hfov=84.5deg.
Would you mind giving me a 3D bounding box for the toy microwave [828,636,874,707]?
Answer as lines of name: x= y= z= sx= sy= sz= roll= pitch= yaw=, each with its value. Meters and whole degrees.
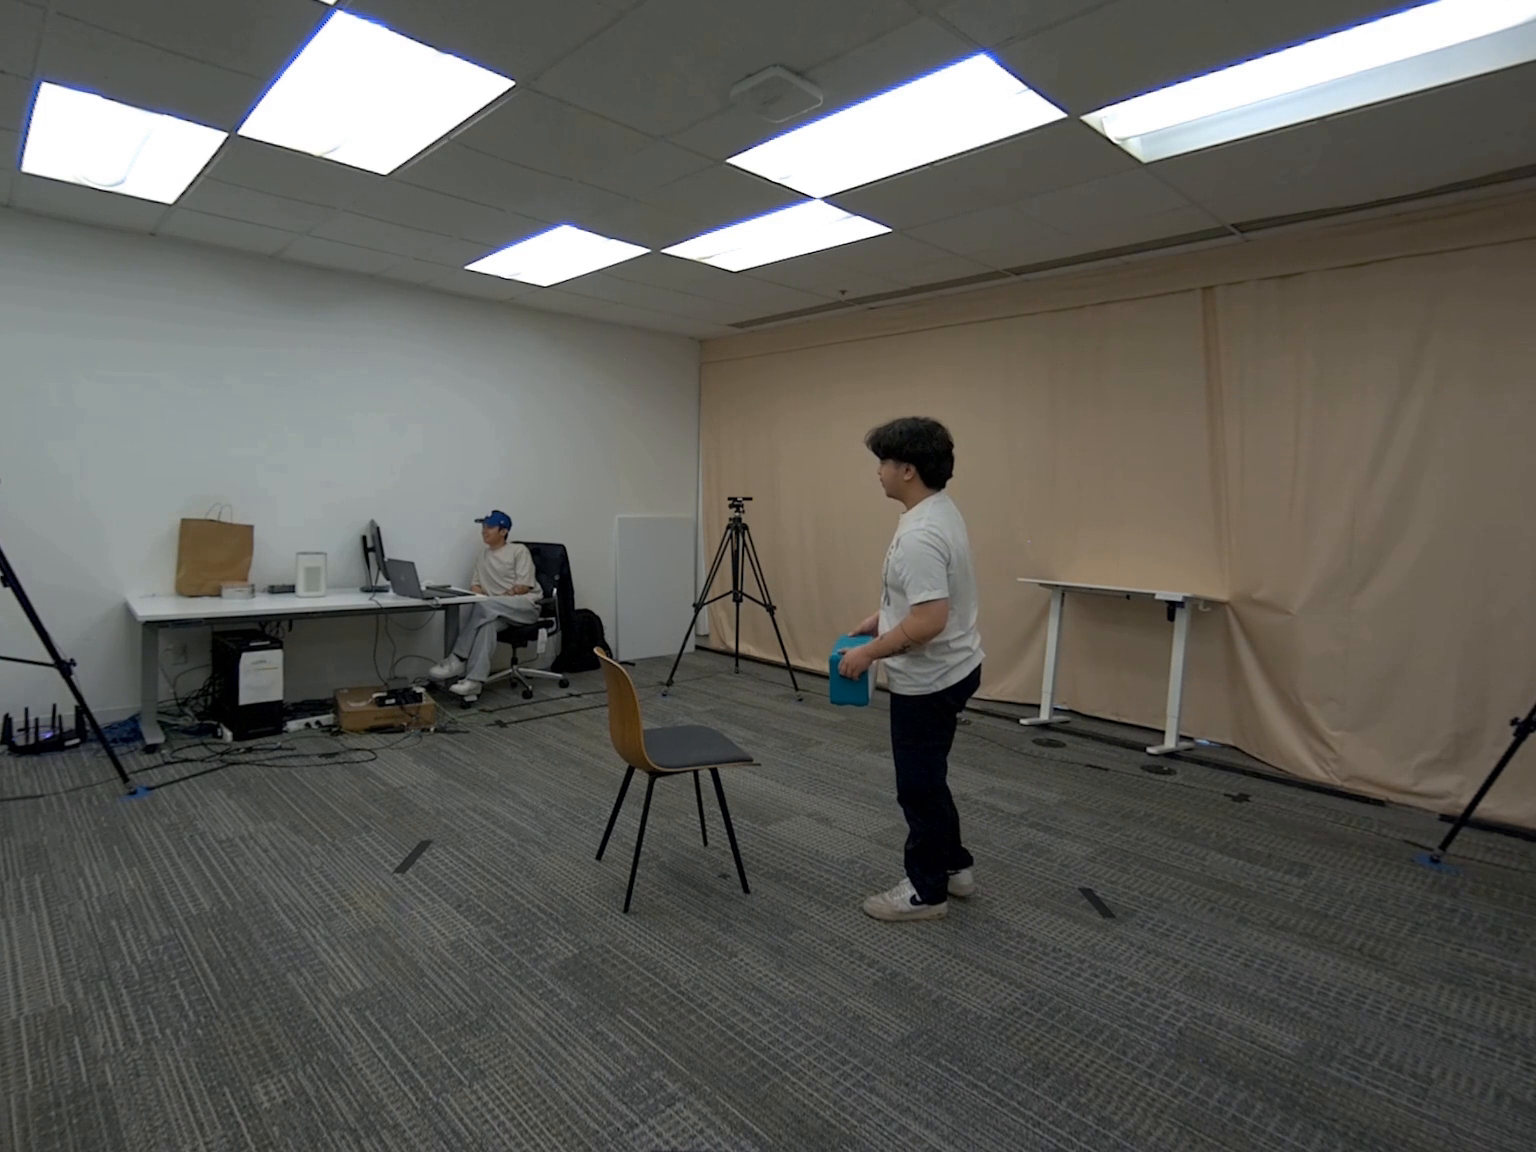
toy microwave: x=0.296 y=0.326 z=2.910 sx=0.154 sy=0.183 sz=0.285 roll=0 pitch=10 yaw=14
